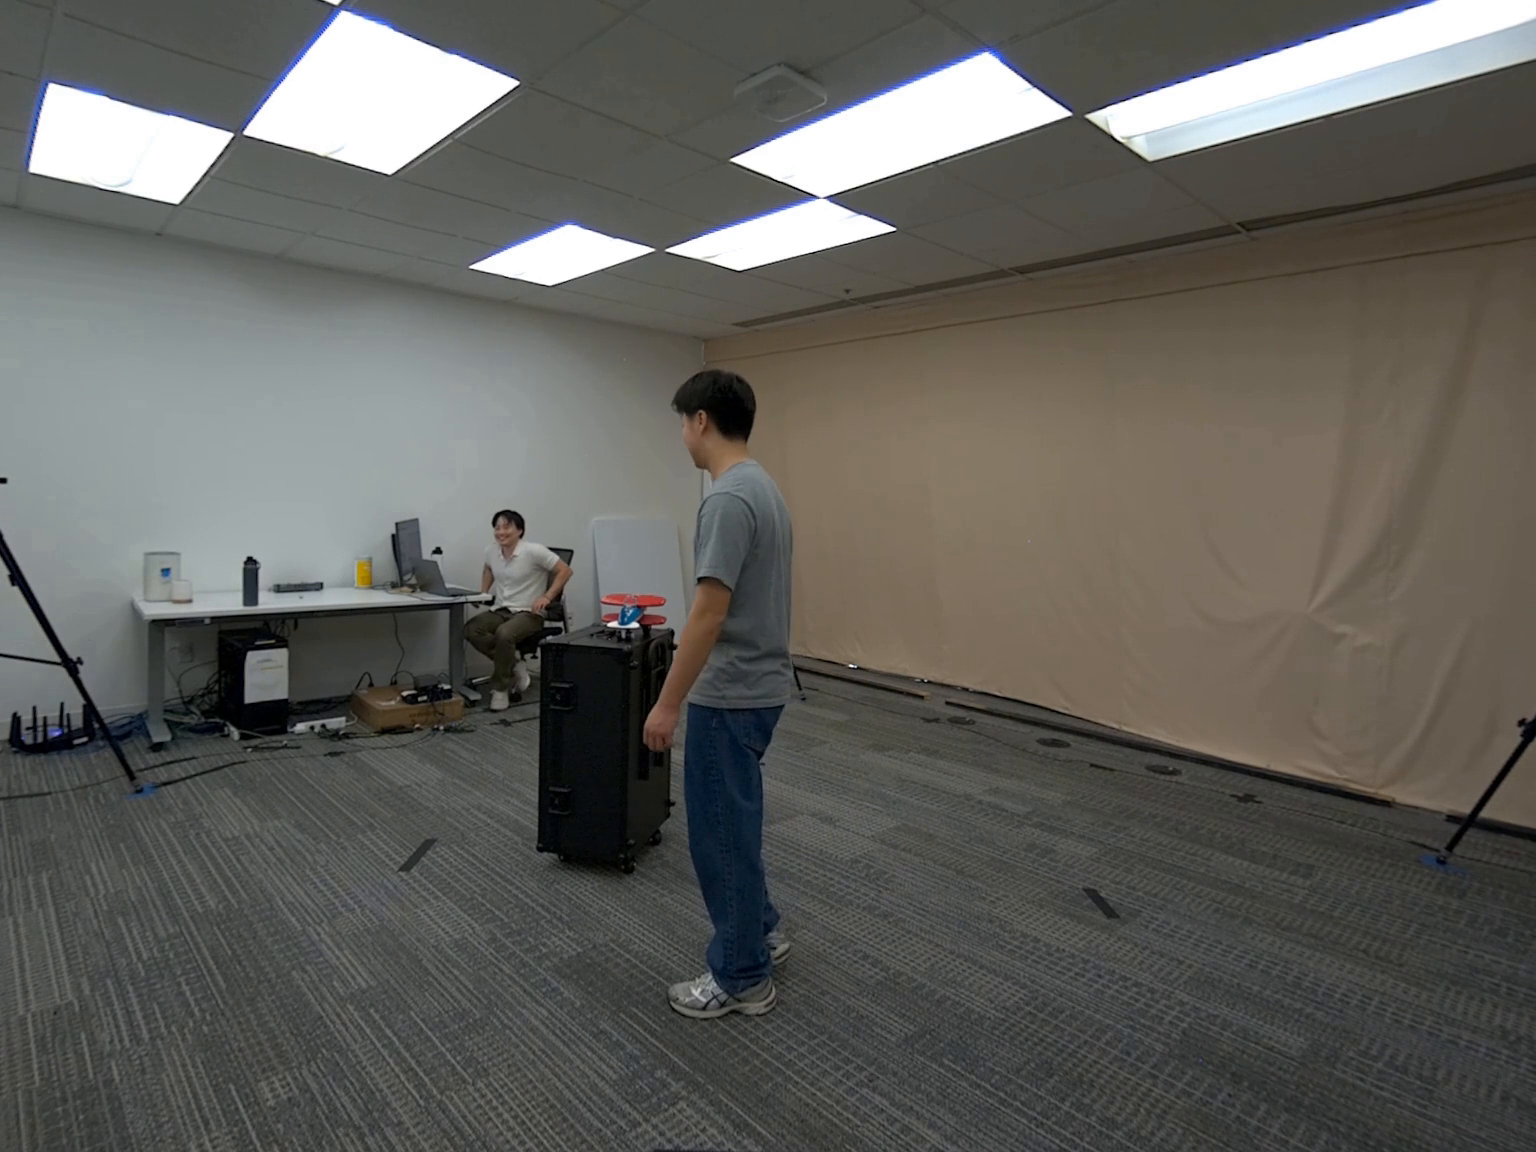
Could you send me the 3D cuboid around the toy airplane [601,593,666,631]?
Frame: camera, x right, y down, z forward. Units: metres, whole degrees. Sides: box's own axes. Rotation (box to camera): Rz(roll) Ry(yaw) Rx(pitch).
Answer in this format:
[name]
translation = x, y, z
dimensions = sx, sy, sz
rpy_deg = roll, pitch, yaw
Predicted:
[toy airplane]
translation = -0.519, 0.156, 3.248
dimensions = 0.247, 0.156, 0.264
rpy_deg = 0, 3, -21
